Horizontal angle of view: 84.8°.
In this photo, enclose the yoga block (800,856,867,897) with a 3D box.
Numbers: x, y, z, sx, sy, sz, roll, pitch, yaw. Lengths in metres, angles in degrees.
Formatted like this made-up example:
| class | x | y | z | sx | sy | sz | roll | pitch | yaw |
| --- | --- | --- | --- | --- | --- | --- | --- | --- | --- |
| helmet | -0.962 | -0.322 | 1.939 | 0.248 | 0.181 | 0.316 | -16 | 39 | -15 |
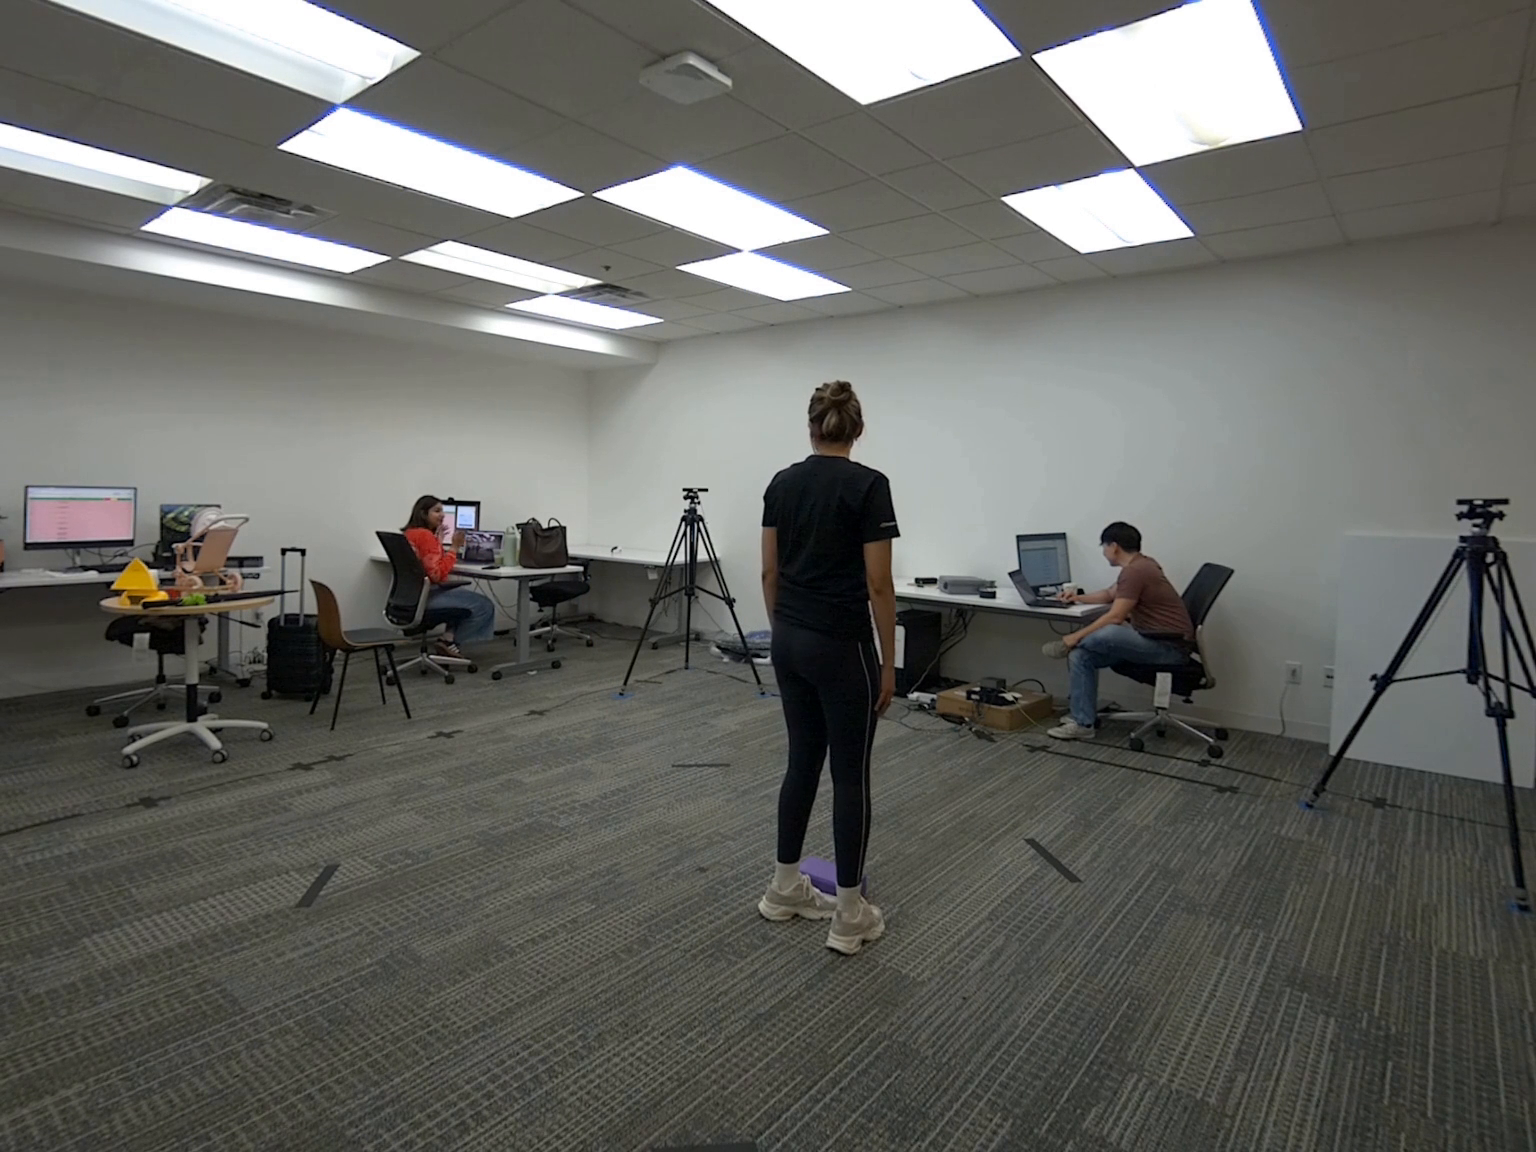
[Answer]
| class | x | y | z | sx | sy | sz | roll | pitch | yaw |
| --- | --- | --- | --- | --- | --- | --- | --- | --- | --- |
| yoga block | 0.200 | 1.048 | 2.944 | 0.236 | 0.076 | 0.145 | 4 | 5 | 33 |
